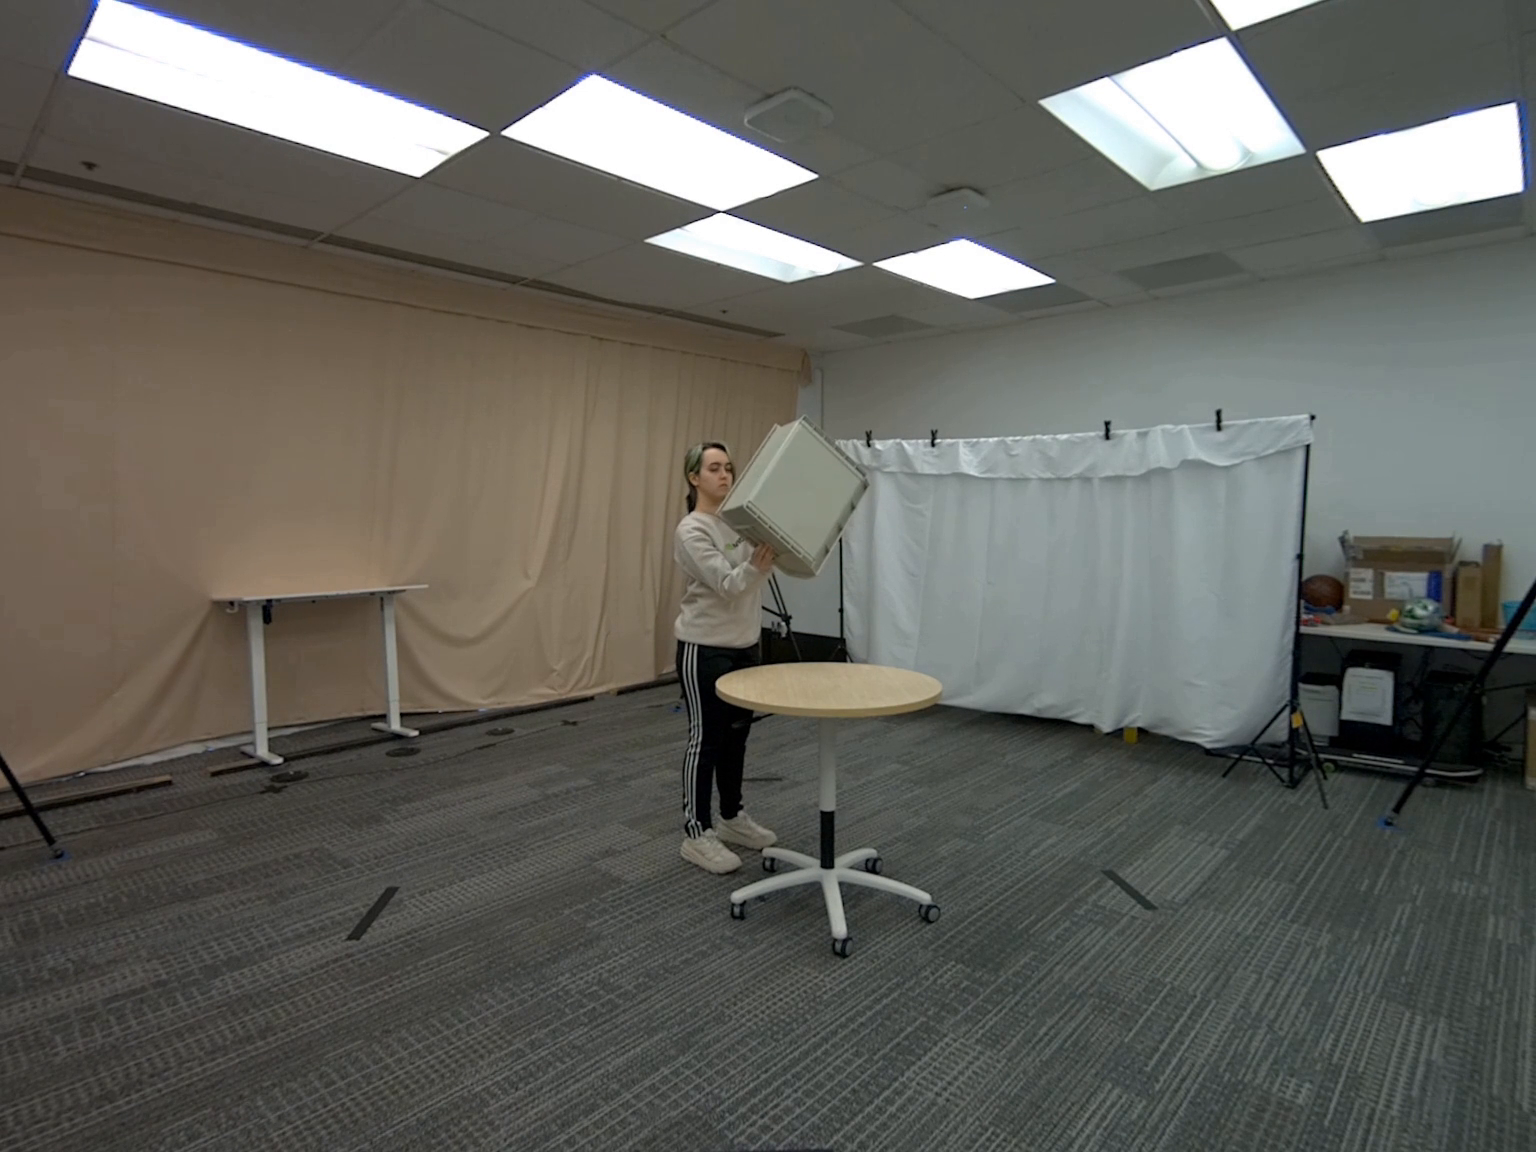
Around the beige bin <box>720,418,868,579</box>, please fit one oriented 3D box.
[{"bbox_3d":[0.109,-0.261,2.887,0.369,0.422,0.193,40,-23,-18],"label":"beige bin"}]
